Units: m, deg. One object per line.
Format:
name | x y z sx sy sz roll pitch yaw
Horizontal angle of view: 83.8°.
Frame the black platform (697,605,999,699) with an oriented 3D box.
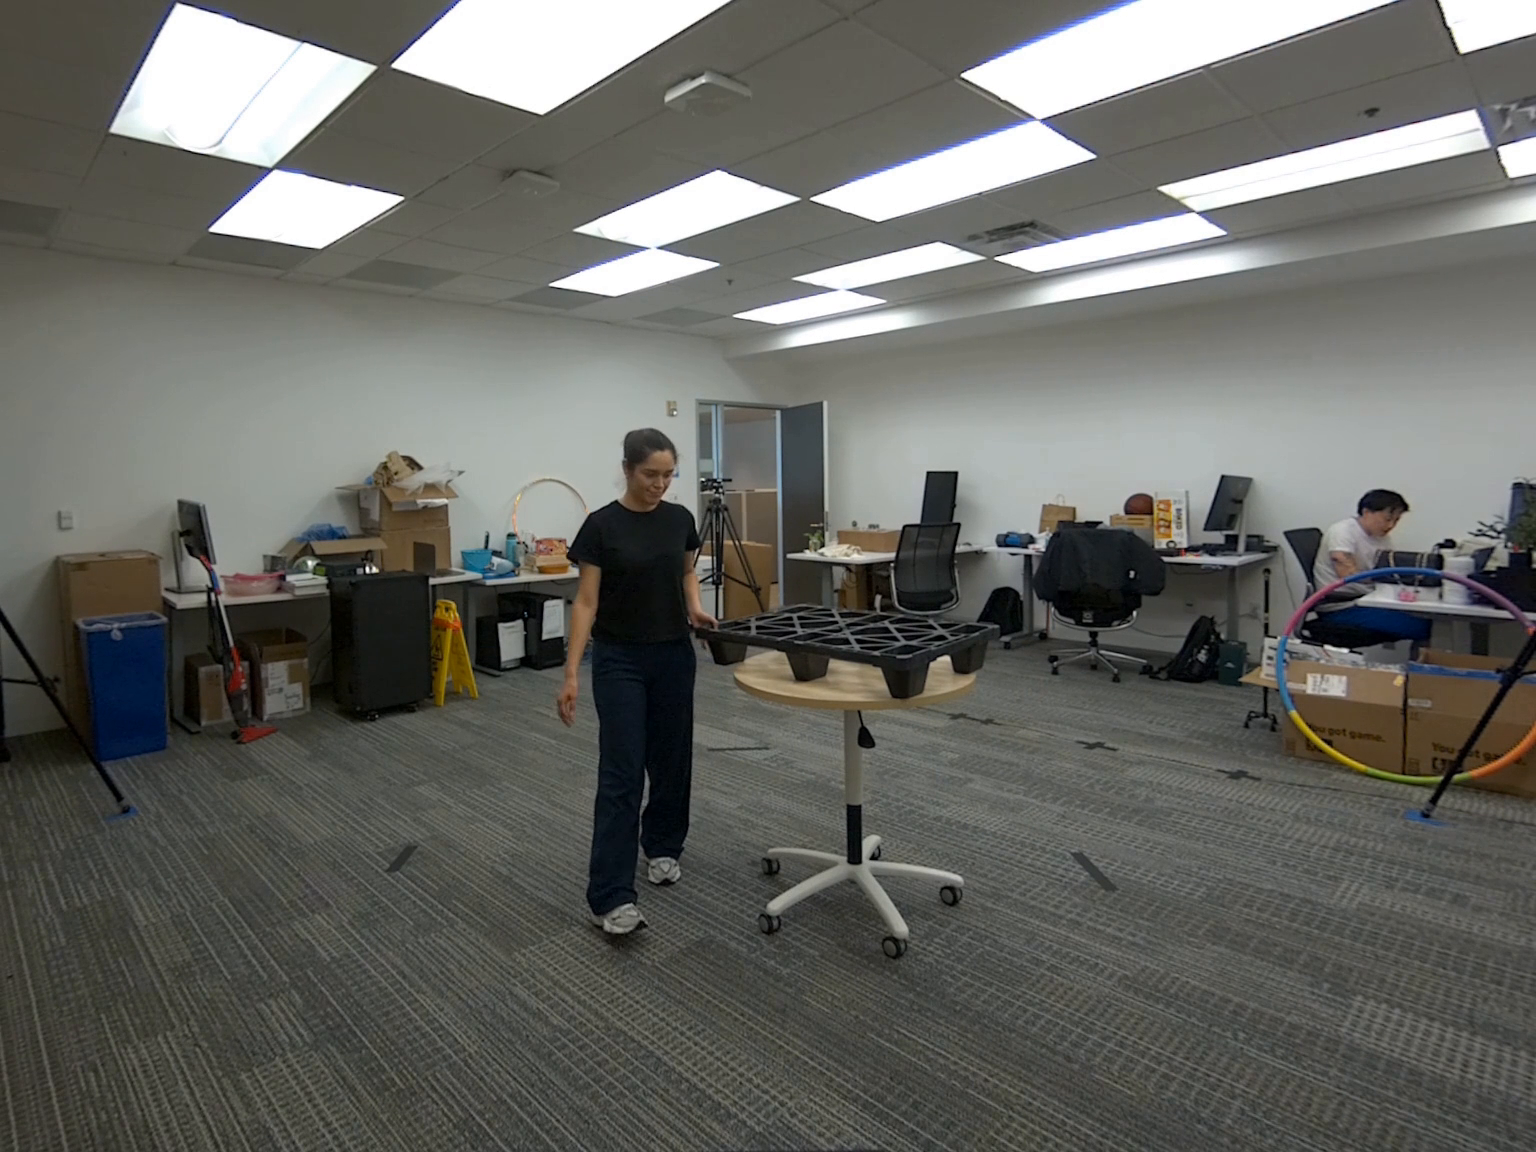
black platform | 0.250 0.230 2.779 0.830 0.142 0.590 4 9 41
